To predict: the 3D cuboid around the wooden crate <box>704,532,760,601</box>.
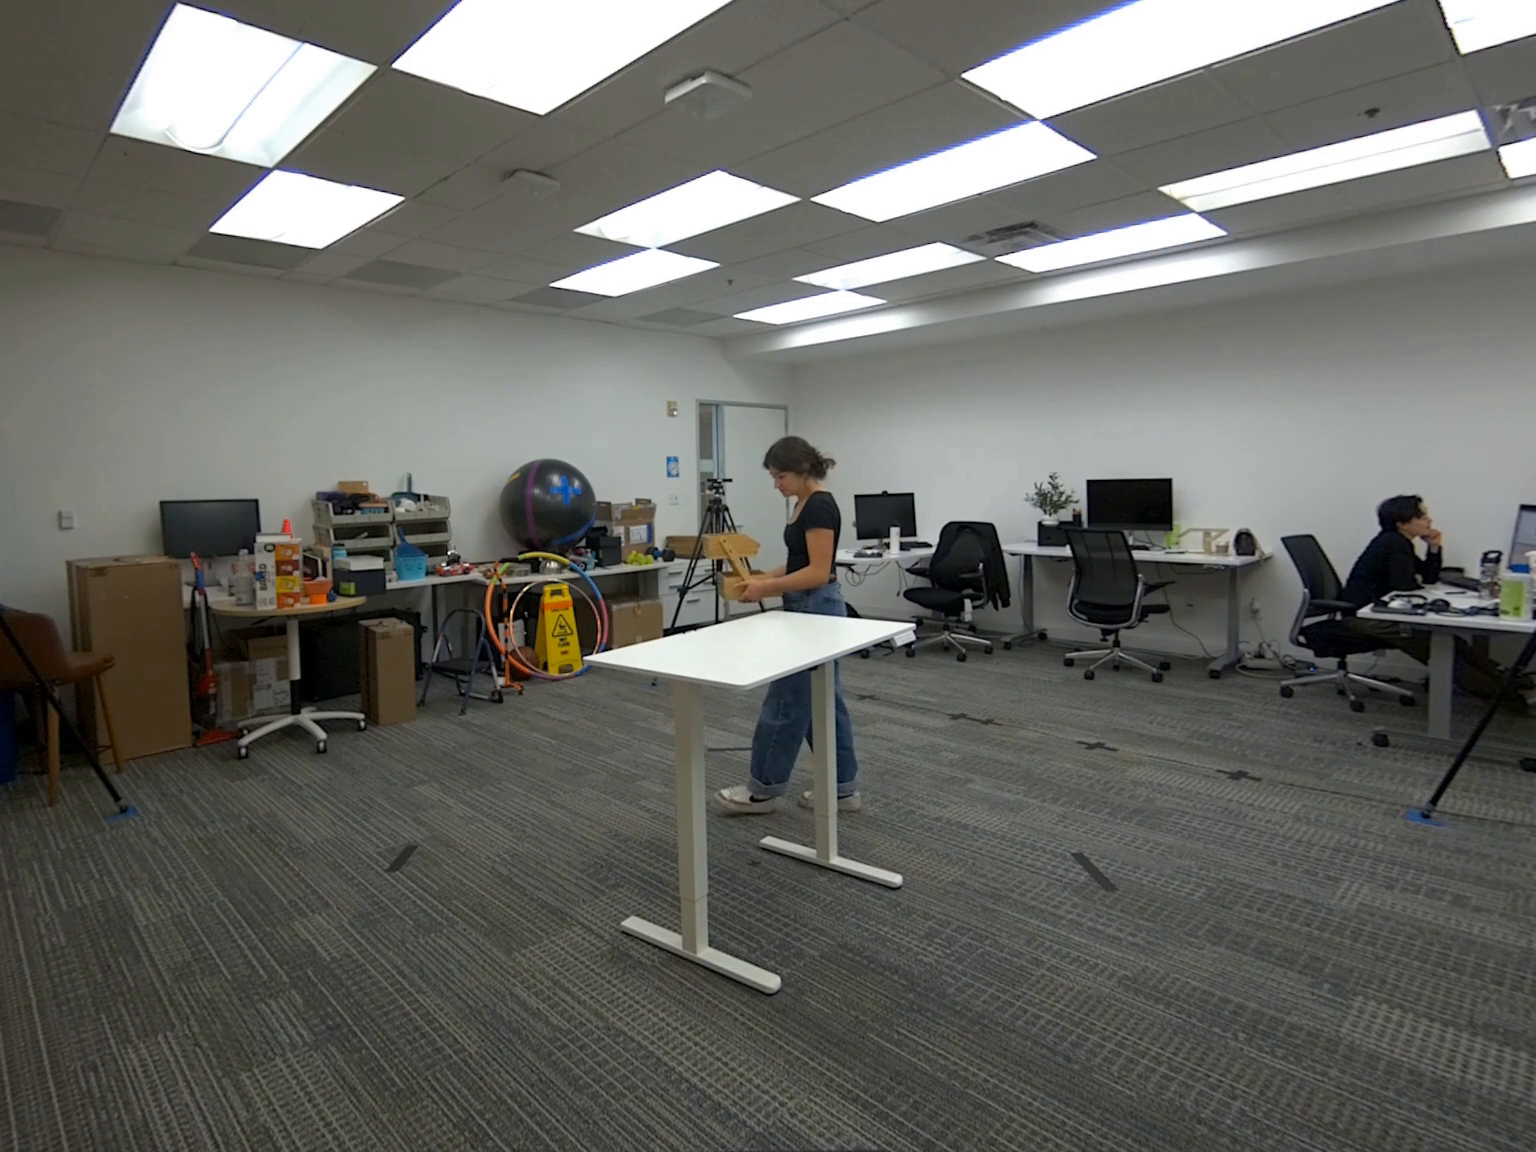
[{"bbox_3d":[-0.095,-0.053,3.547,0.301,0.273,0.327,-4,3,-5],"label":"wooden crate"}]
